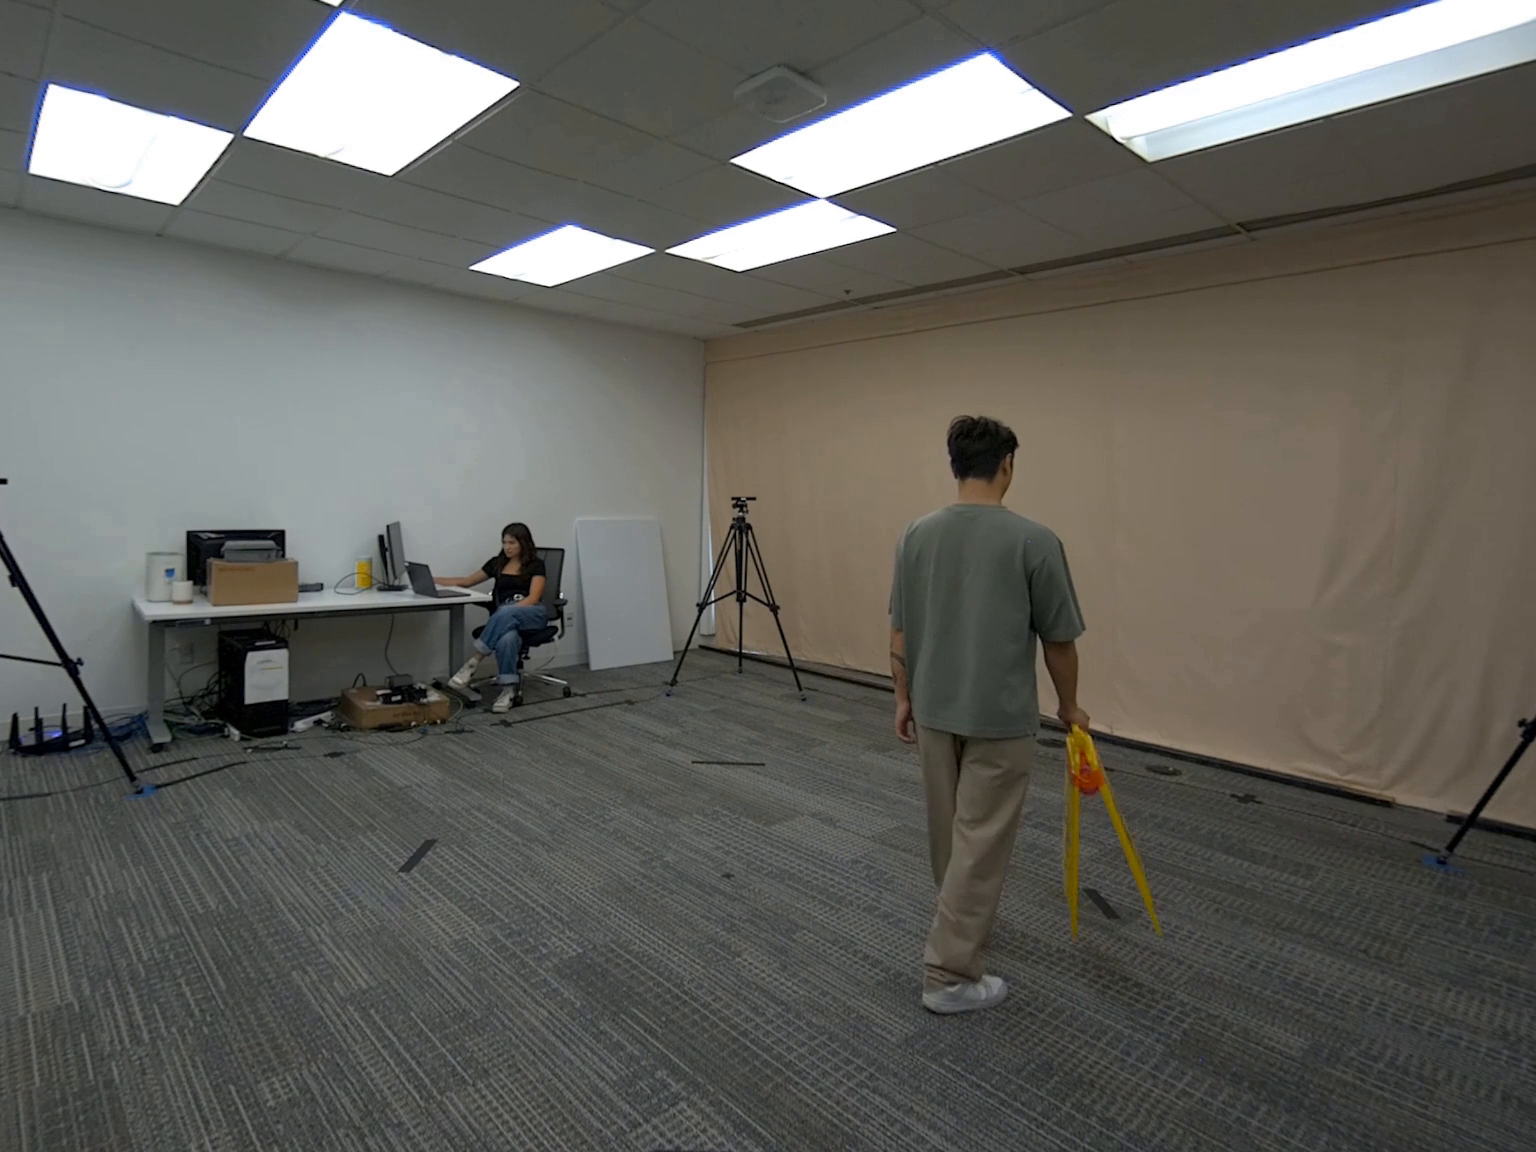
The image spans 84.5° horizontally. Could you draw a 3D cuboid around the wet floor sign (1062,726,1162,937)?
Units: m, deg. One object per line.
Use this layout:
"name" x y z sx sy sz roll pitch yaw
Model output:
"wet floor sign" 0.980 0.735 2.548 0.293 0.642 0.281 -11 8 17
